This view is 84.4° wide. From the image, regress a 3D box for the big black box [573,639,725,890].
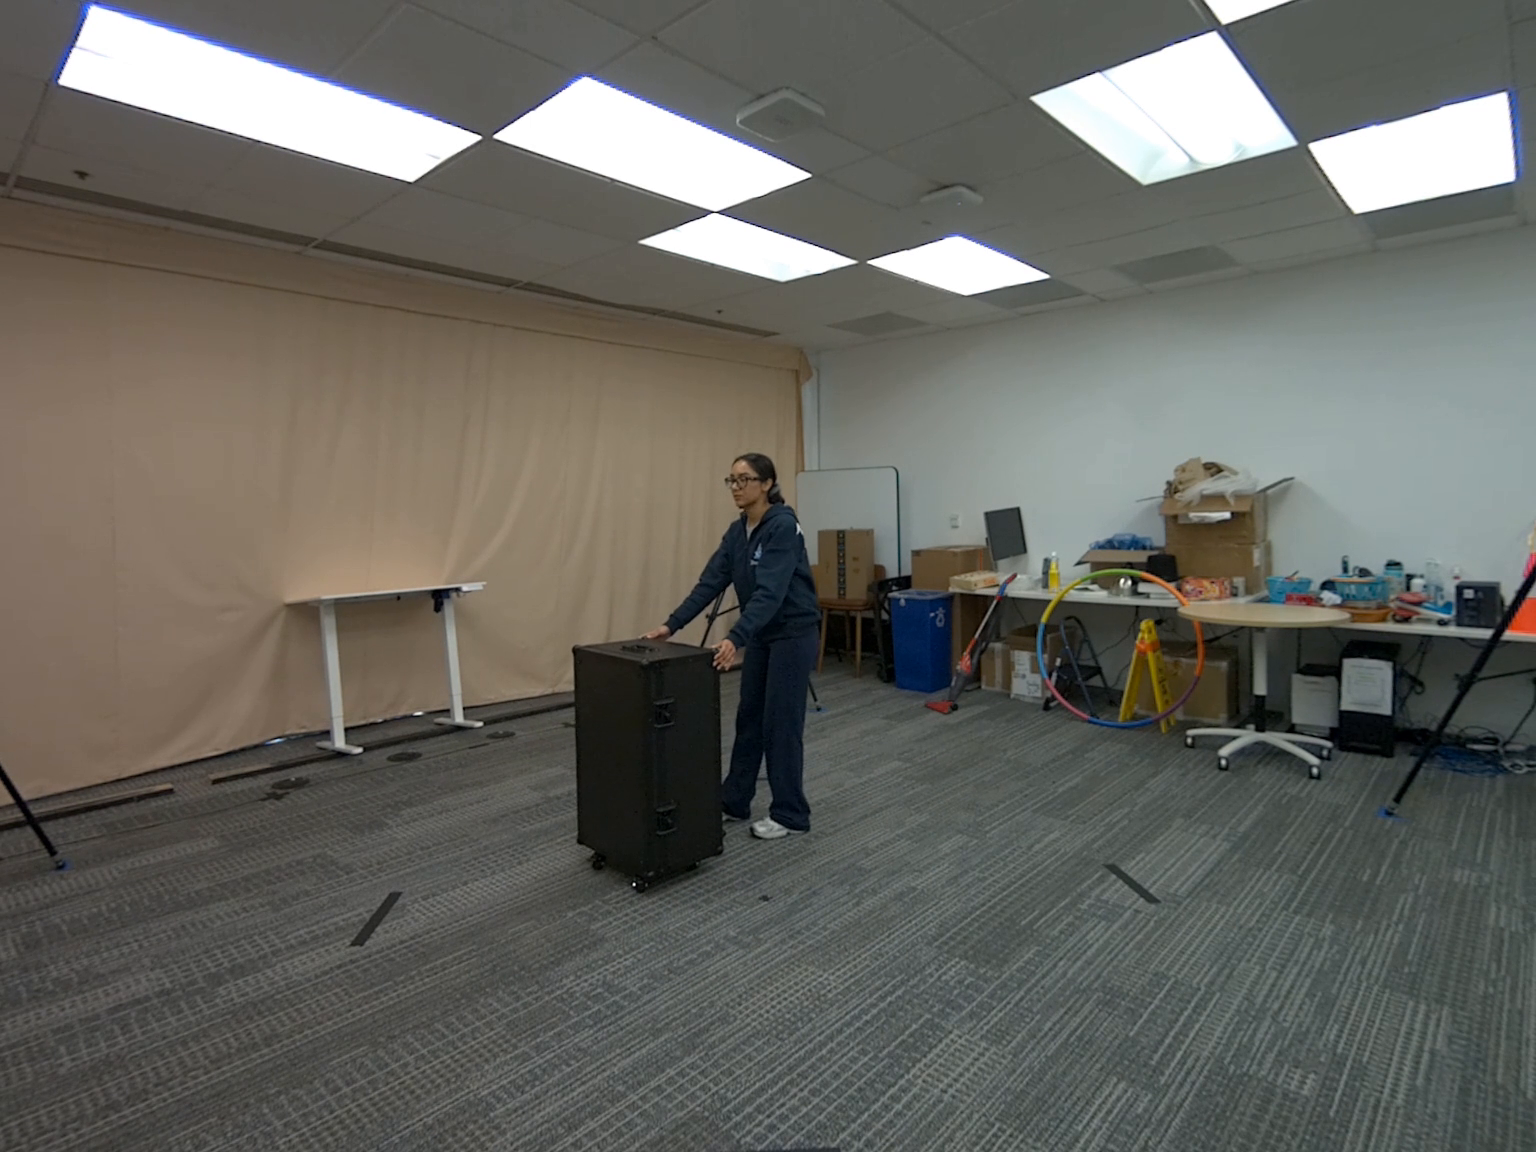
[{"bbox_3d":[-0.468,0.705,3.267,0.384,0.860,0.538,-2,3,-43],"label":"big black box"}]
